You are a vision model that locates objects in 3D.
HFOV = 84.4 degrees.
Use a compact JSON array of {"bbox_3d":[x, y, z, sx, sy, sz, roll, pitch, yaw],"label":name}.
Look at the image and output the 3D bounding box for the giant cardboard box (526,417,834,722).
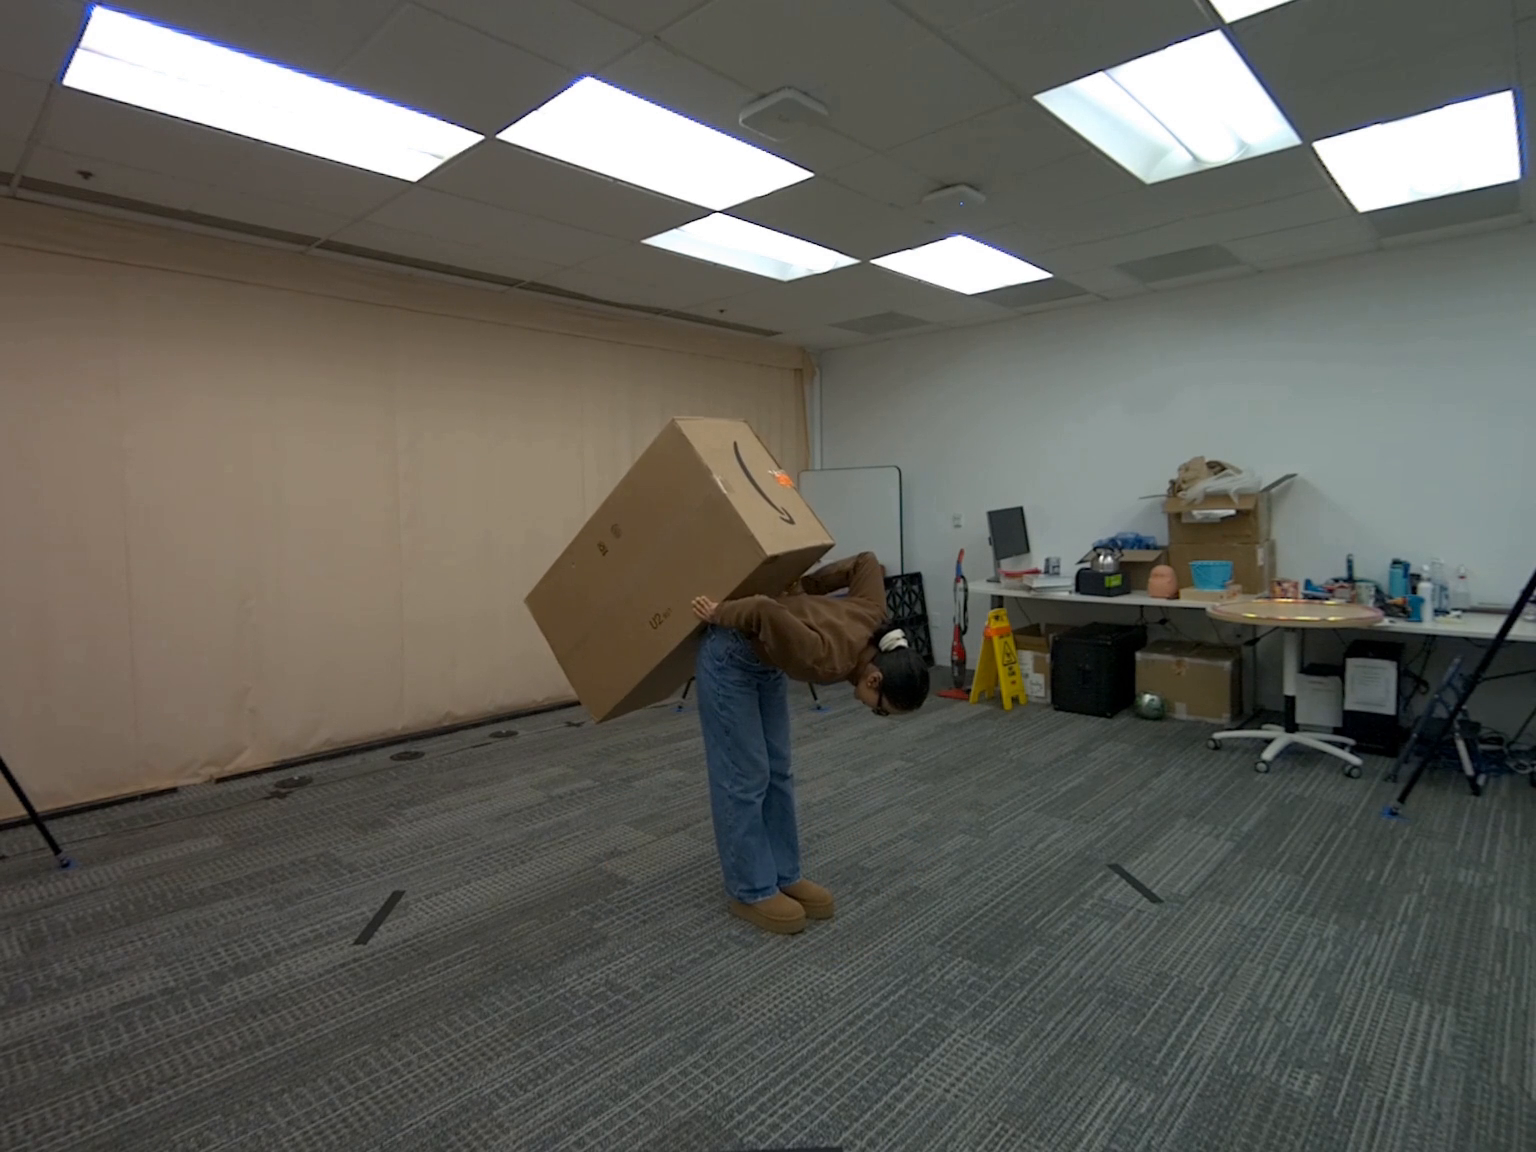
[{"bbox_3d":[-0.356,-0.001,3.068,1.035,0.595,0.435,-45,-19,32],"label":"giant cardboard box"}]
